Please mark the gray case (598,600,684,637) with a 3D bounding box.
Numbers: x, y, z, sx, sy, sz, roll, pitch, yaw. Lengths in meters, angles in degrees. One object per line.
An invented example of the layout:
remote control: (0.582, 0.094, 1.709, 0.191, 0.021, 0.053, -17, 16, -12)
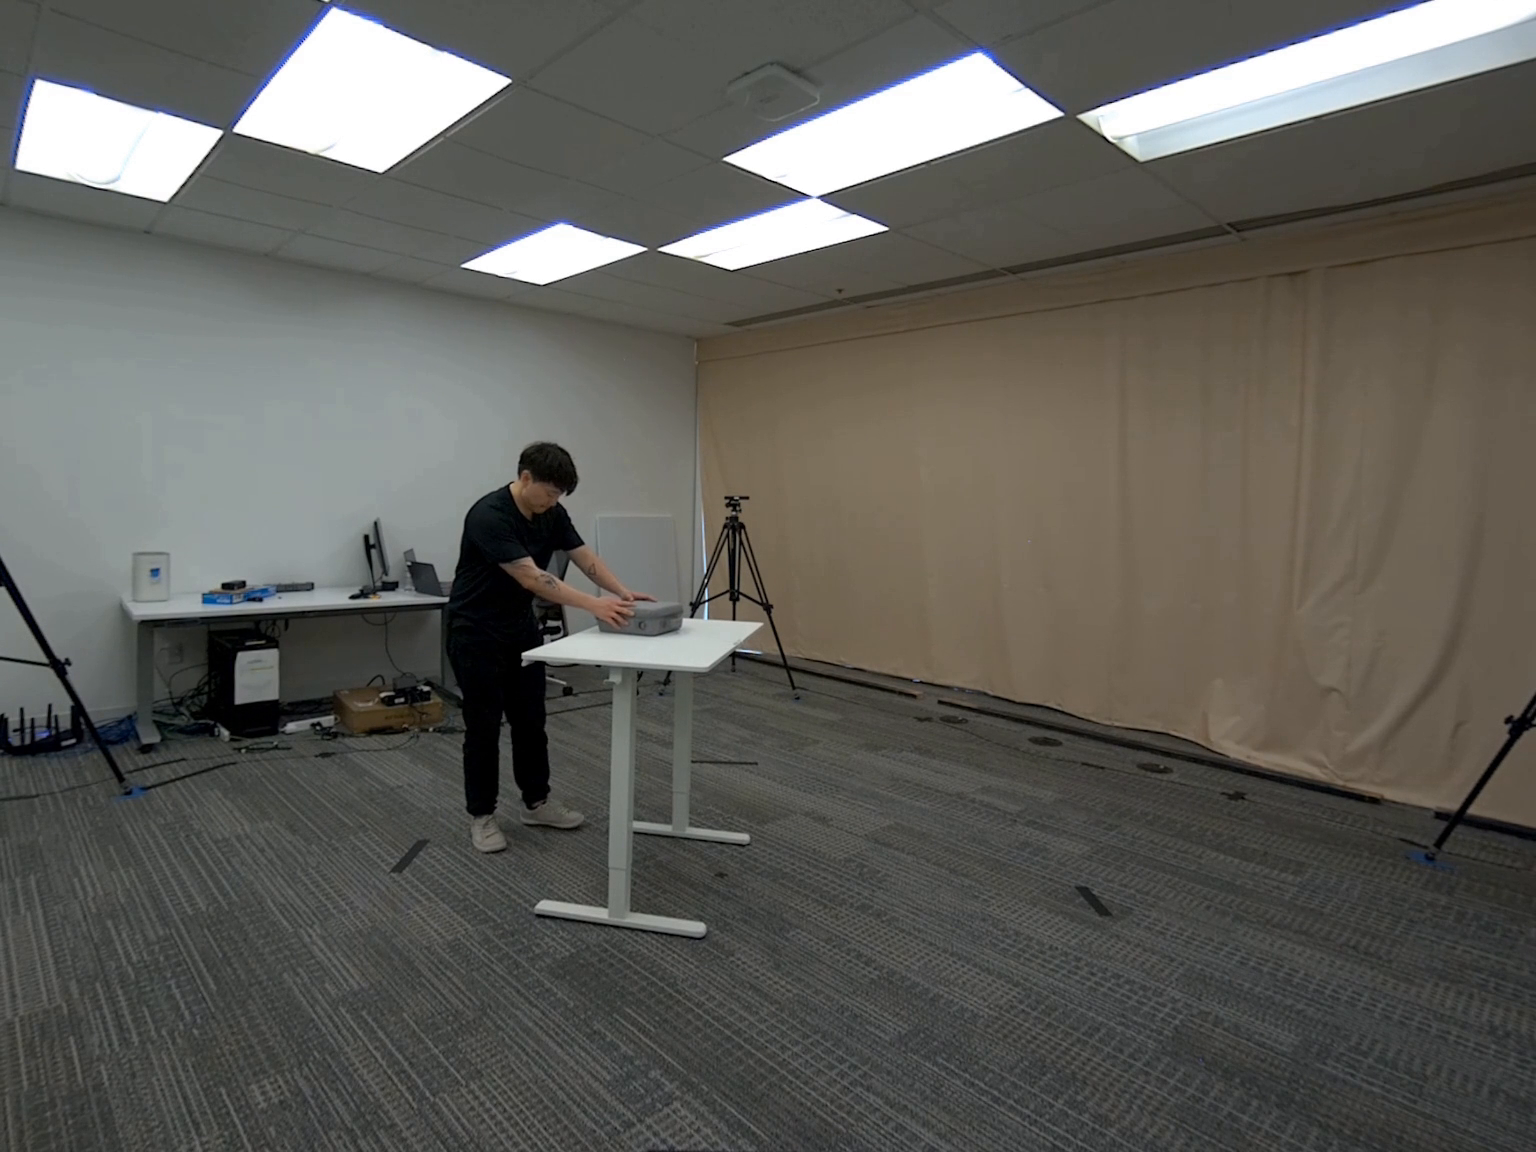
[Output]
gray case: (-0.480, 0.157, 3.182, 0.265, 0.104, 0.253, 2, 3, 21)
